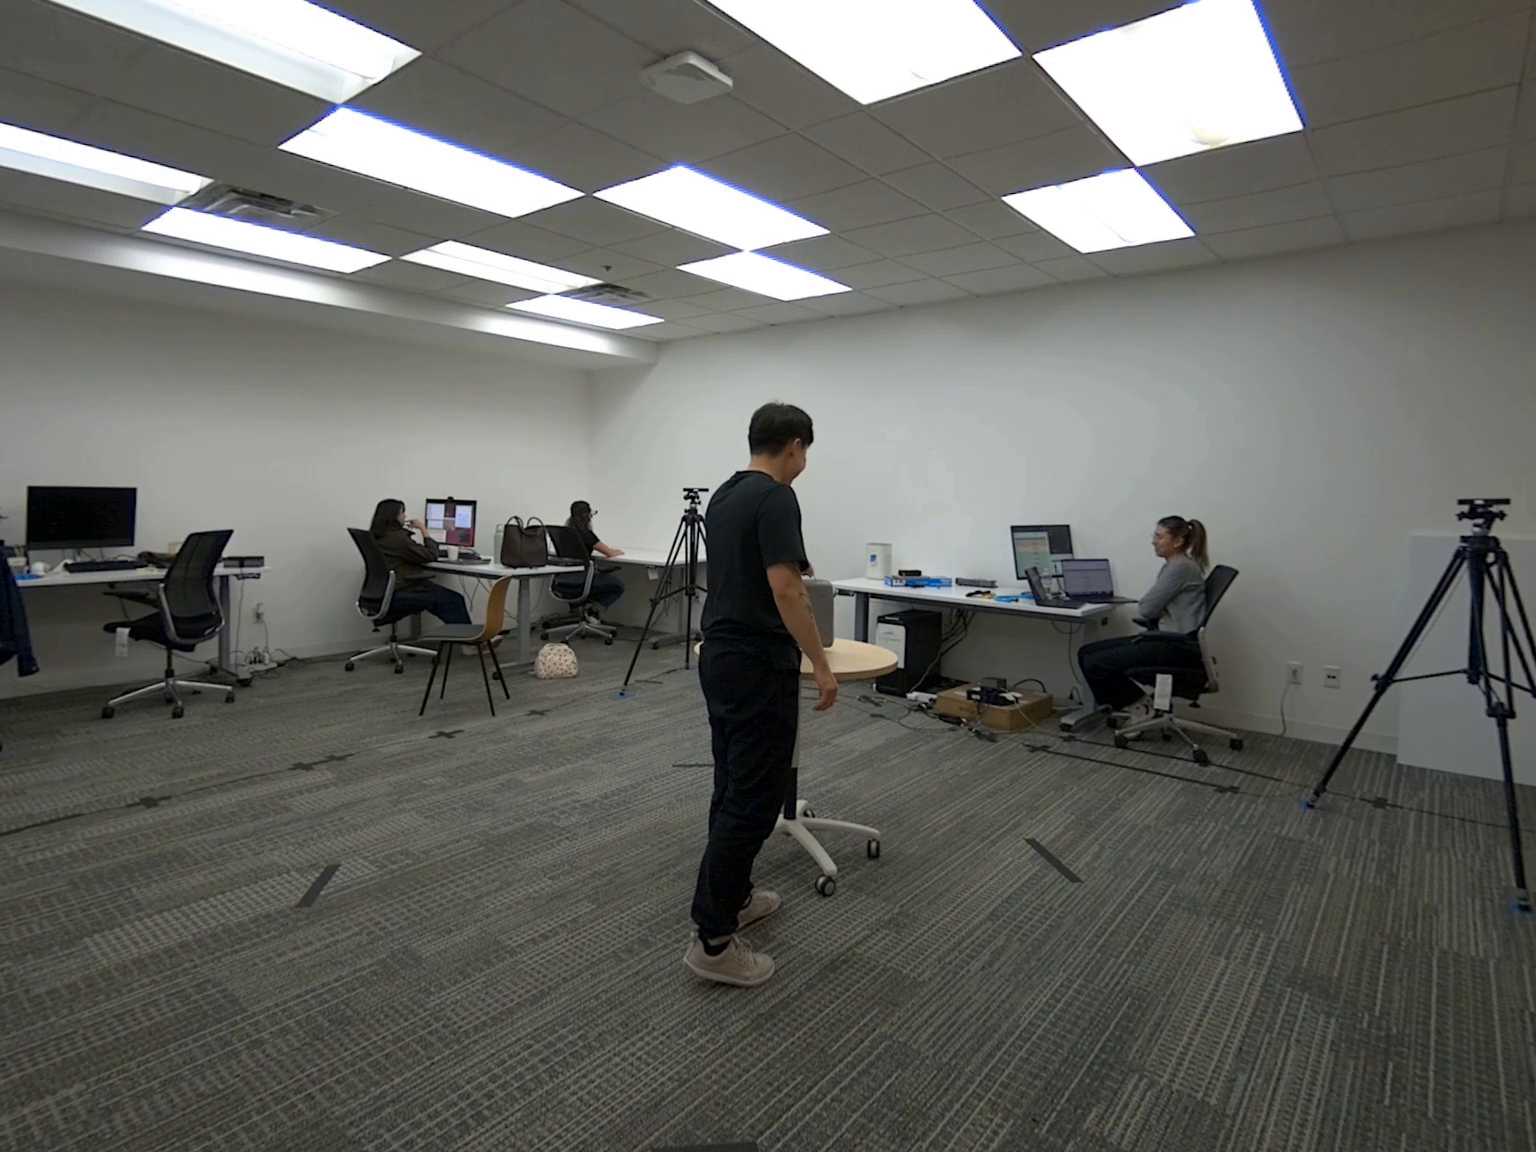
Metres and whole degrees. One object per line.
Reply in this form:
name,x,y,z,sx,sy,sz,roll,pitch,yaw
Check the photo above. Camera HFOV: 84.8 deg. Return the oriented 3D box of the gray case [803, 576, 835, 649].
gray case,0.118,0.136,3.223,0.257,0.260,0.104,-3,1,0
